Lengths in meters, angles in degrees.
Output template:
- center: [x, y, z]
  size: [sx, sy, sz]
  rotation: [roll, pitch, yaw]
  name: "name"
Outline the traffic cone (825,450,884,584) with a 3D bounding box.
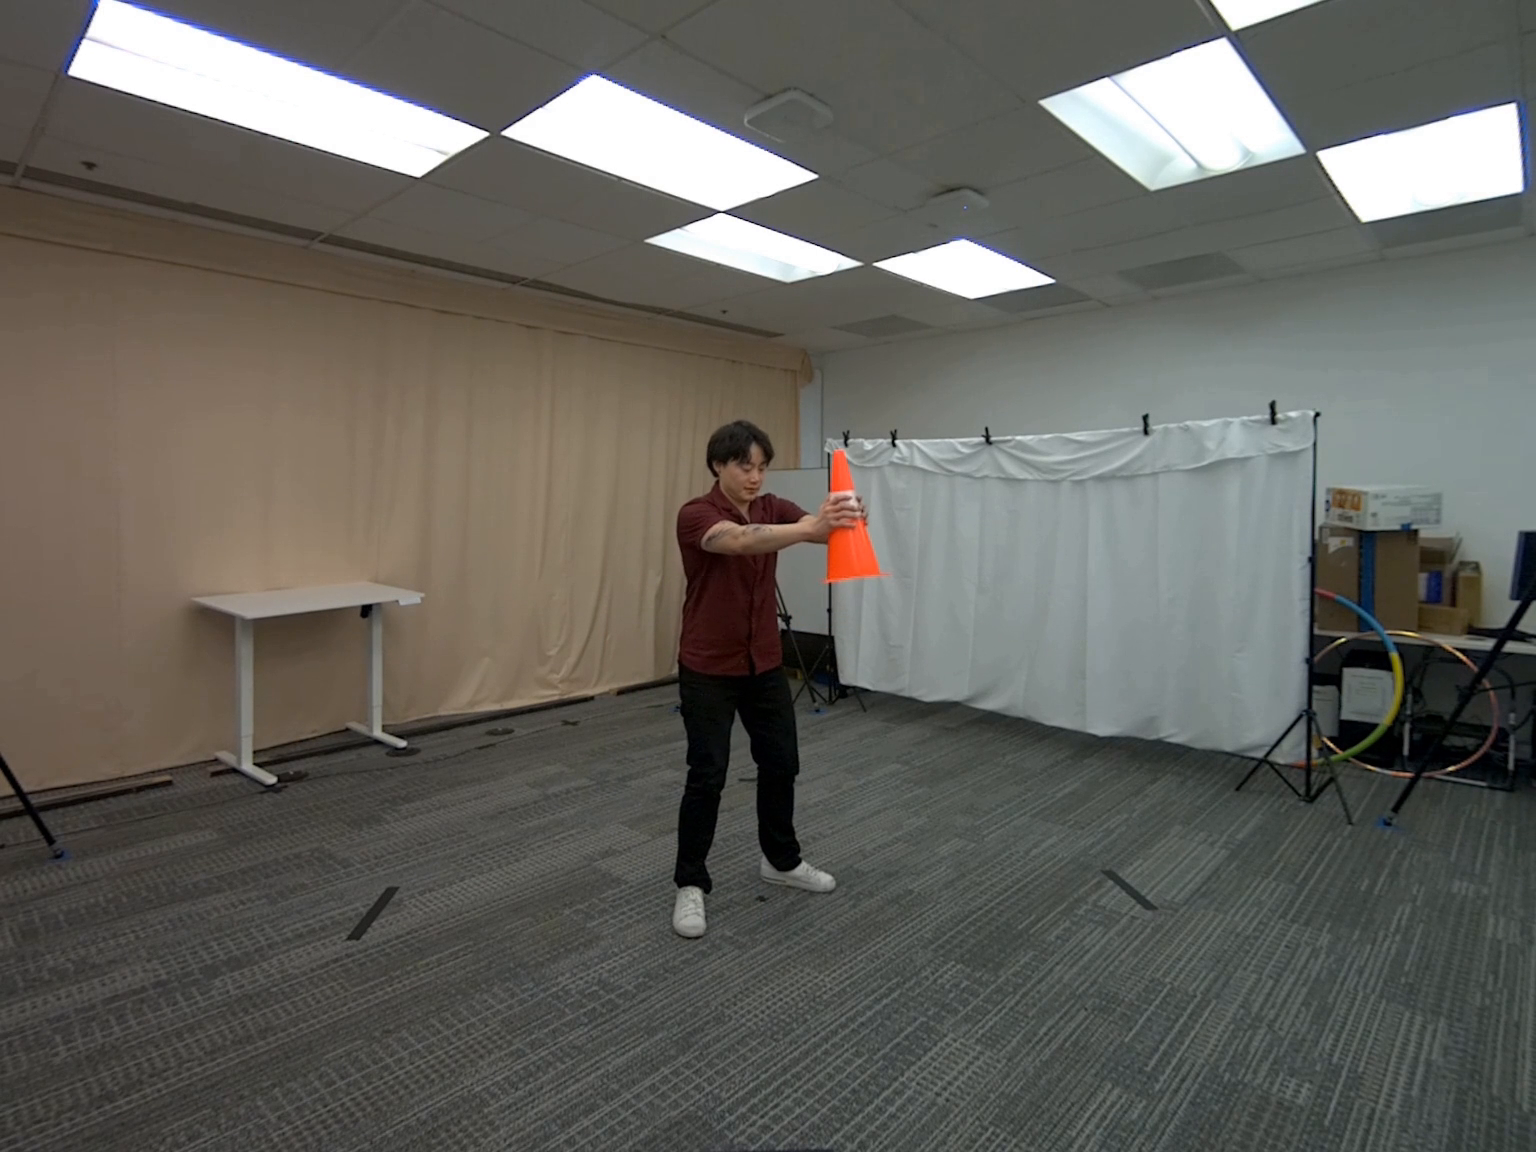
- center: [0.243, -0.176, 2.501]
  size: [0.198, 0.384, 0.211]
  rotation: [-6, 0, -34]
  name: "traffic cone"
